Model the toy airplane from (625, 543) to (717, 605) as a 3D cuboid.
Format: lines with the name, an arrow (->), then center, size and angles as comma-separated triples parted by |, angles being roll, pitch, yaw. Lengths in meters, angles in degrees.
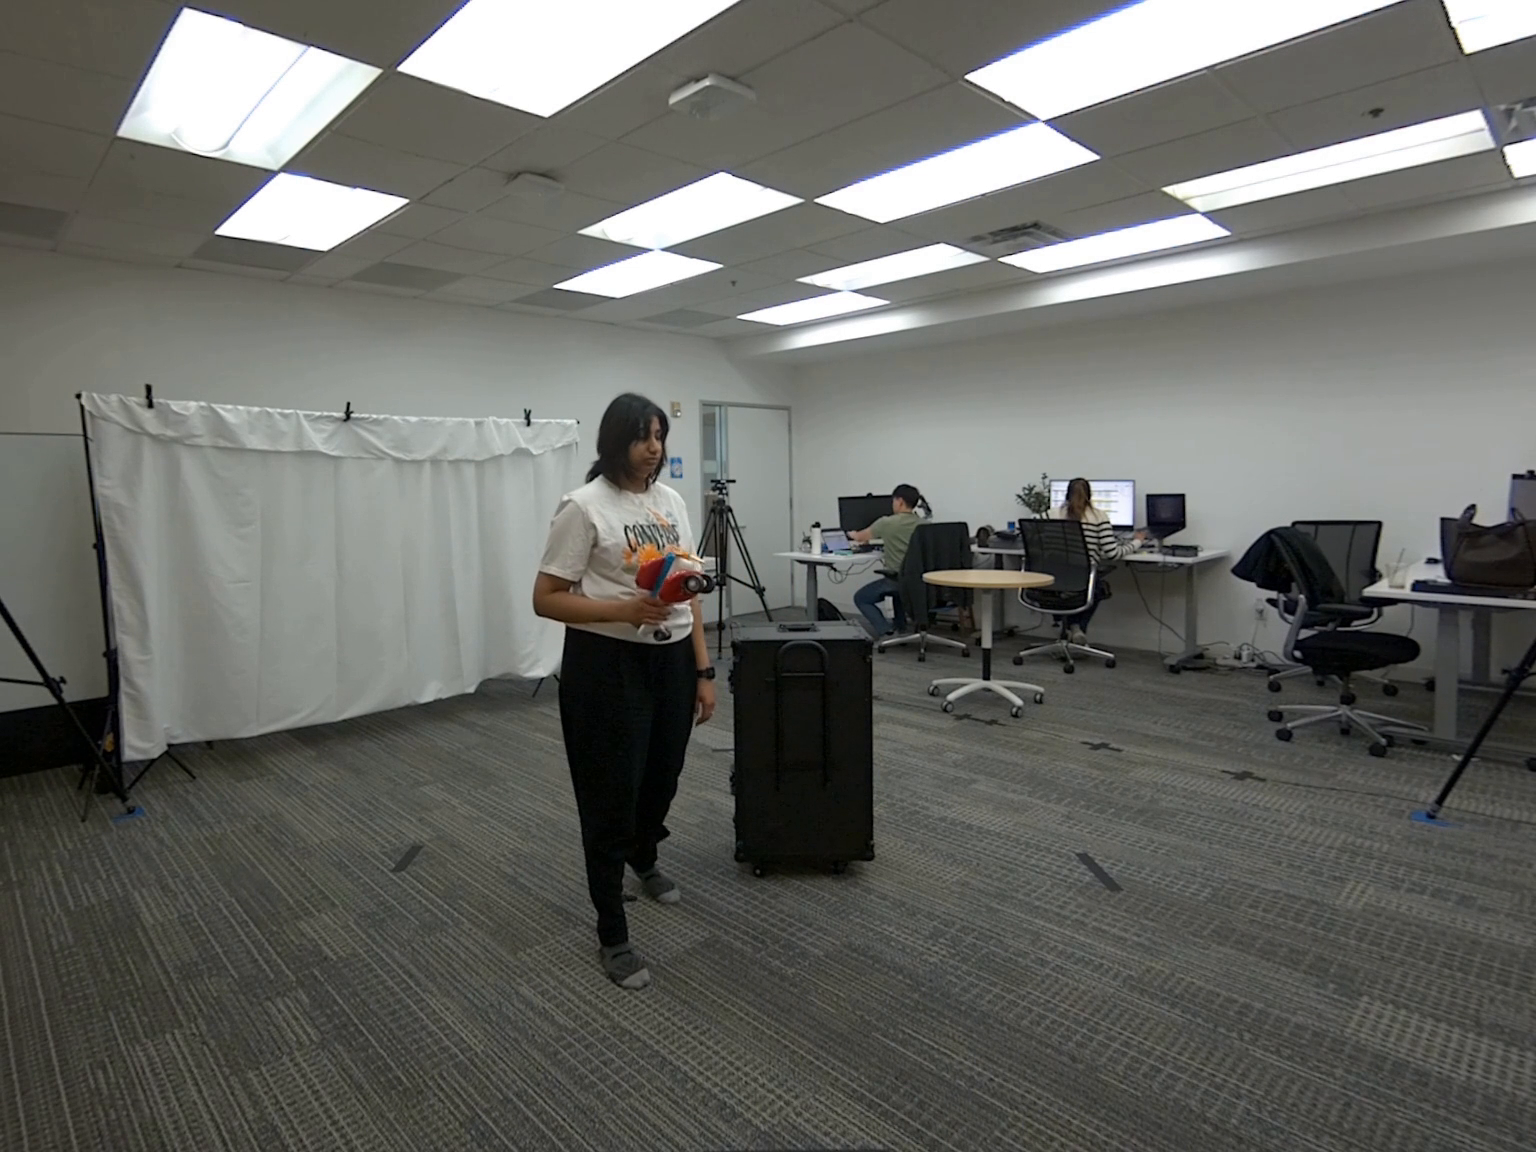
toy airplane -> -0.284, 0.056, 2.324 | 0.259, 0.160, 0.246 | -43, -16, -16
